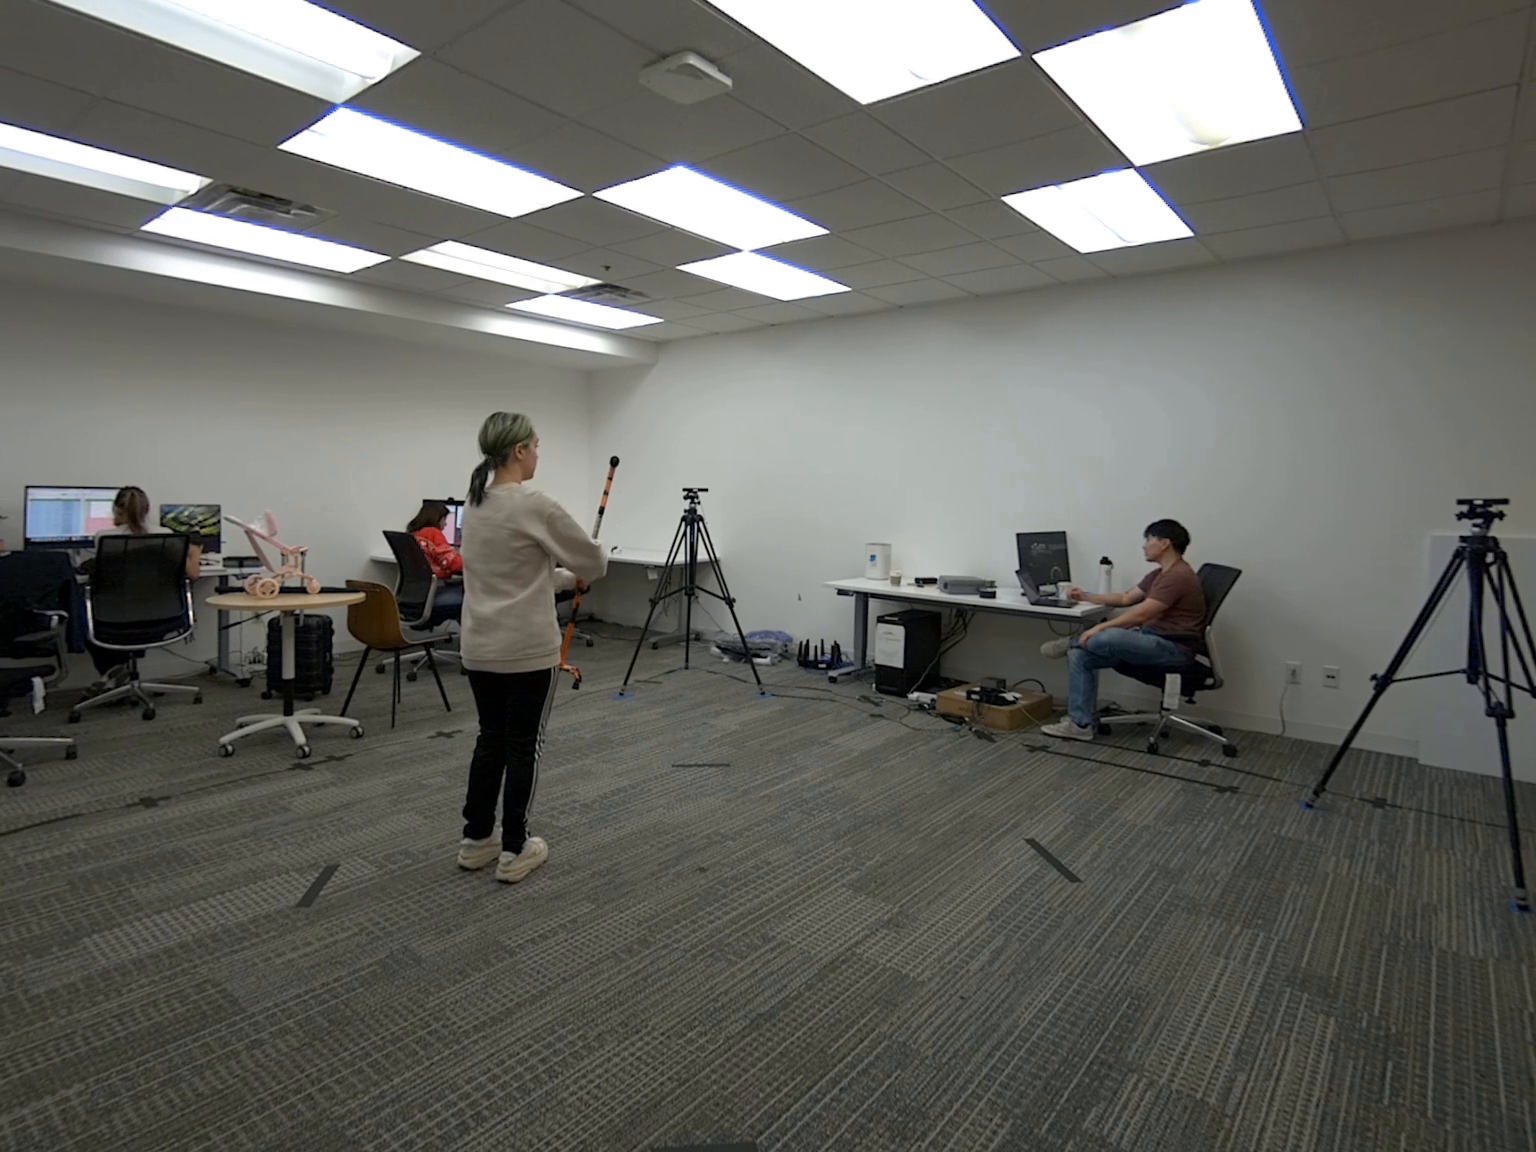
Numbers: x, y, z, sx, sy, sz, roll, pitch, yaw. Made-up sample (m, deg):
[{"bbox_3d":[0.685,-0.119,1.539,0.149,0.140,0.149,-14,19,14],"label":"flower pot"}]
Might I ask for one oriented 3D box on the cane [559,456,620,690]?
[{"bbox_3d":[-0.726,-0.026,3.386,0.150,0.910,0.209,13,-3,-11],"label":"cane"}]
